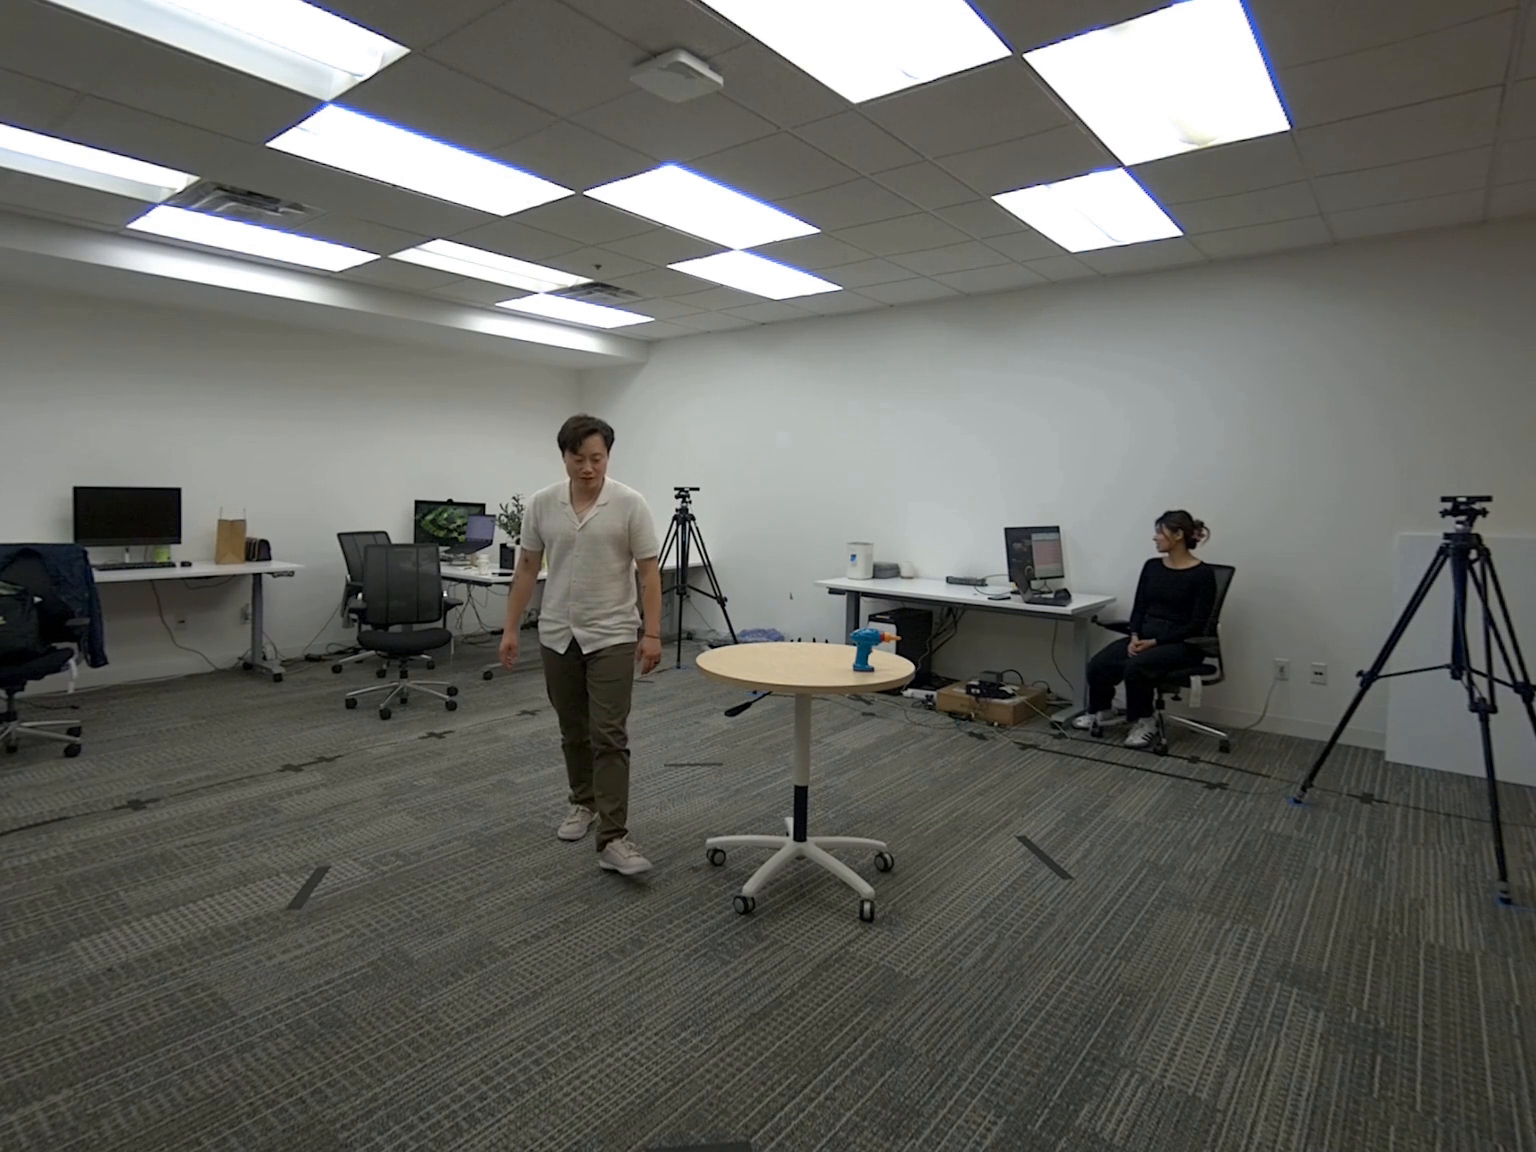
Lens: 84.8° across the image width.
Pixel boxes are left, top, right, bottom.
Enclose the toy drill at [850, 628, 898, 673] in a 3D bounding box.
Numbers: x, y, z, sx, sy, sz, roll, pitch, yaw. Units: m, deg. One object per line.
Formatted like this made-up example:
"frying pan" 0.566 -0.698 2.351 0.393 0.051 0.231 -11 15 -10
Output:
"toy drill" 0.351 0.242 2.868 0.169 0.146 0.061 1 2 -3
